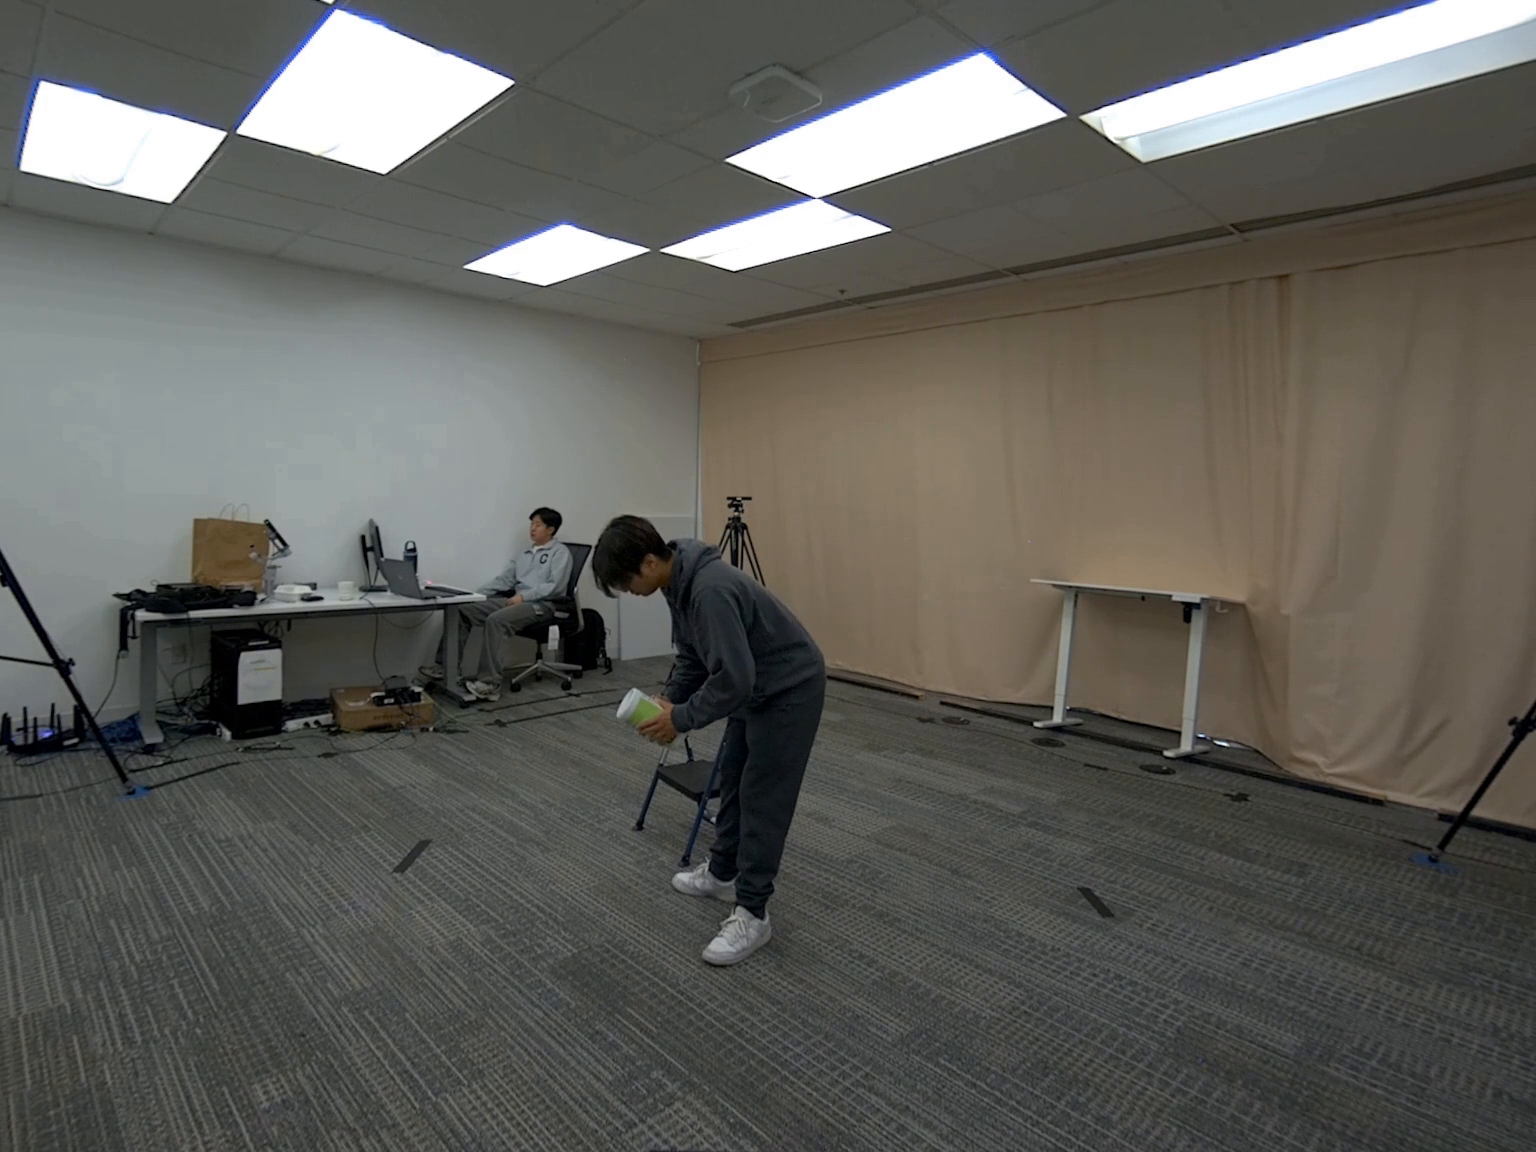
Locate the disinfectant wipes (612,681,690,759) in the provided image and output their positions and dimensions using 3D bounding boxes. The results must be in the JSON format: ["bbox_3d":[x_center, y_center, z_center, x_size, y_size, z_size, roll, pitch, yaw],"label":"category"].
[{"bbox_3d":[-0.358,0.446,2.648,0.216,0.118,0.118,31,2,-4],"label":"disinfectant wipes"}]
